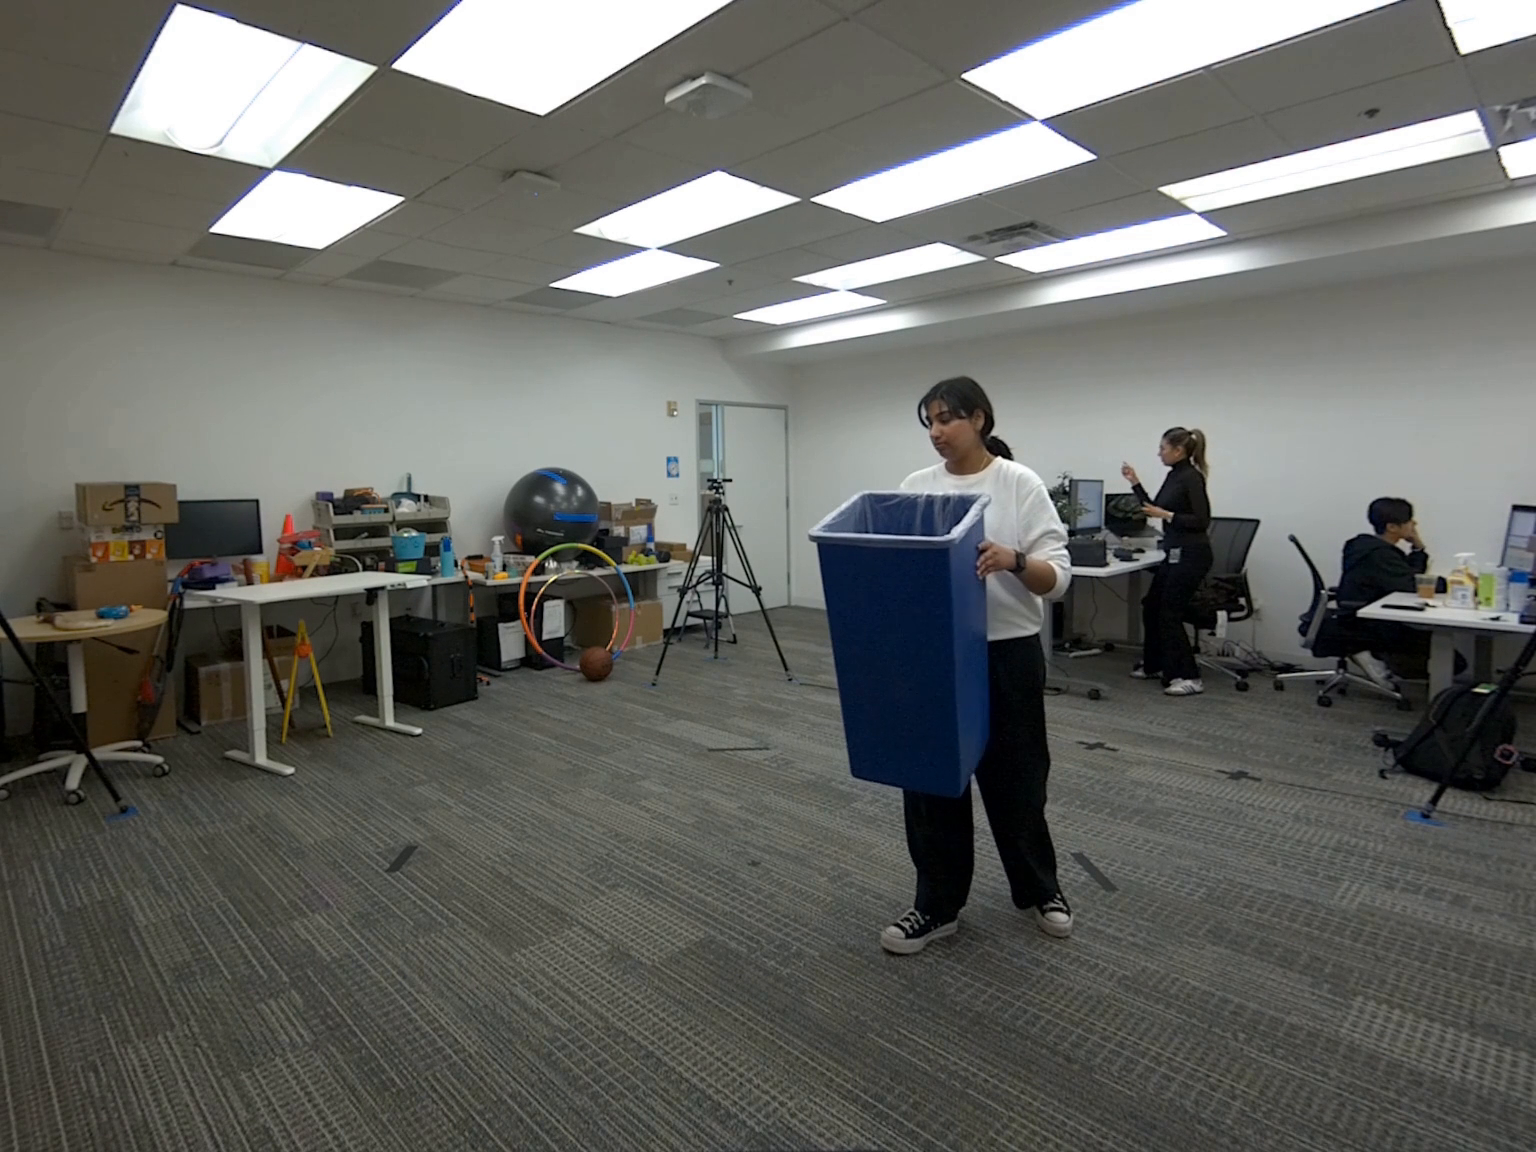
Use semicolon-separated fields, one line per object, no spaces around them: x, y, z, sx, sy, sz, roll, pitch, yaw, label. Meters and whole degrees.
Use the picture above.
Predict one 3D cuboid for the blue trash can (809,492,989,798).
0.387;0.172;2.242;0.388;0.702;0.370;3;20;30;blue trash can
